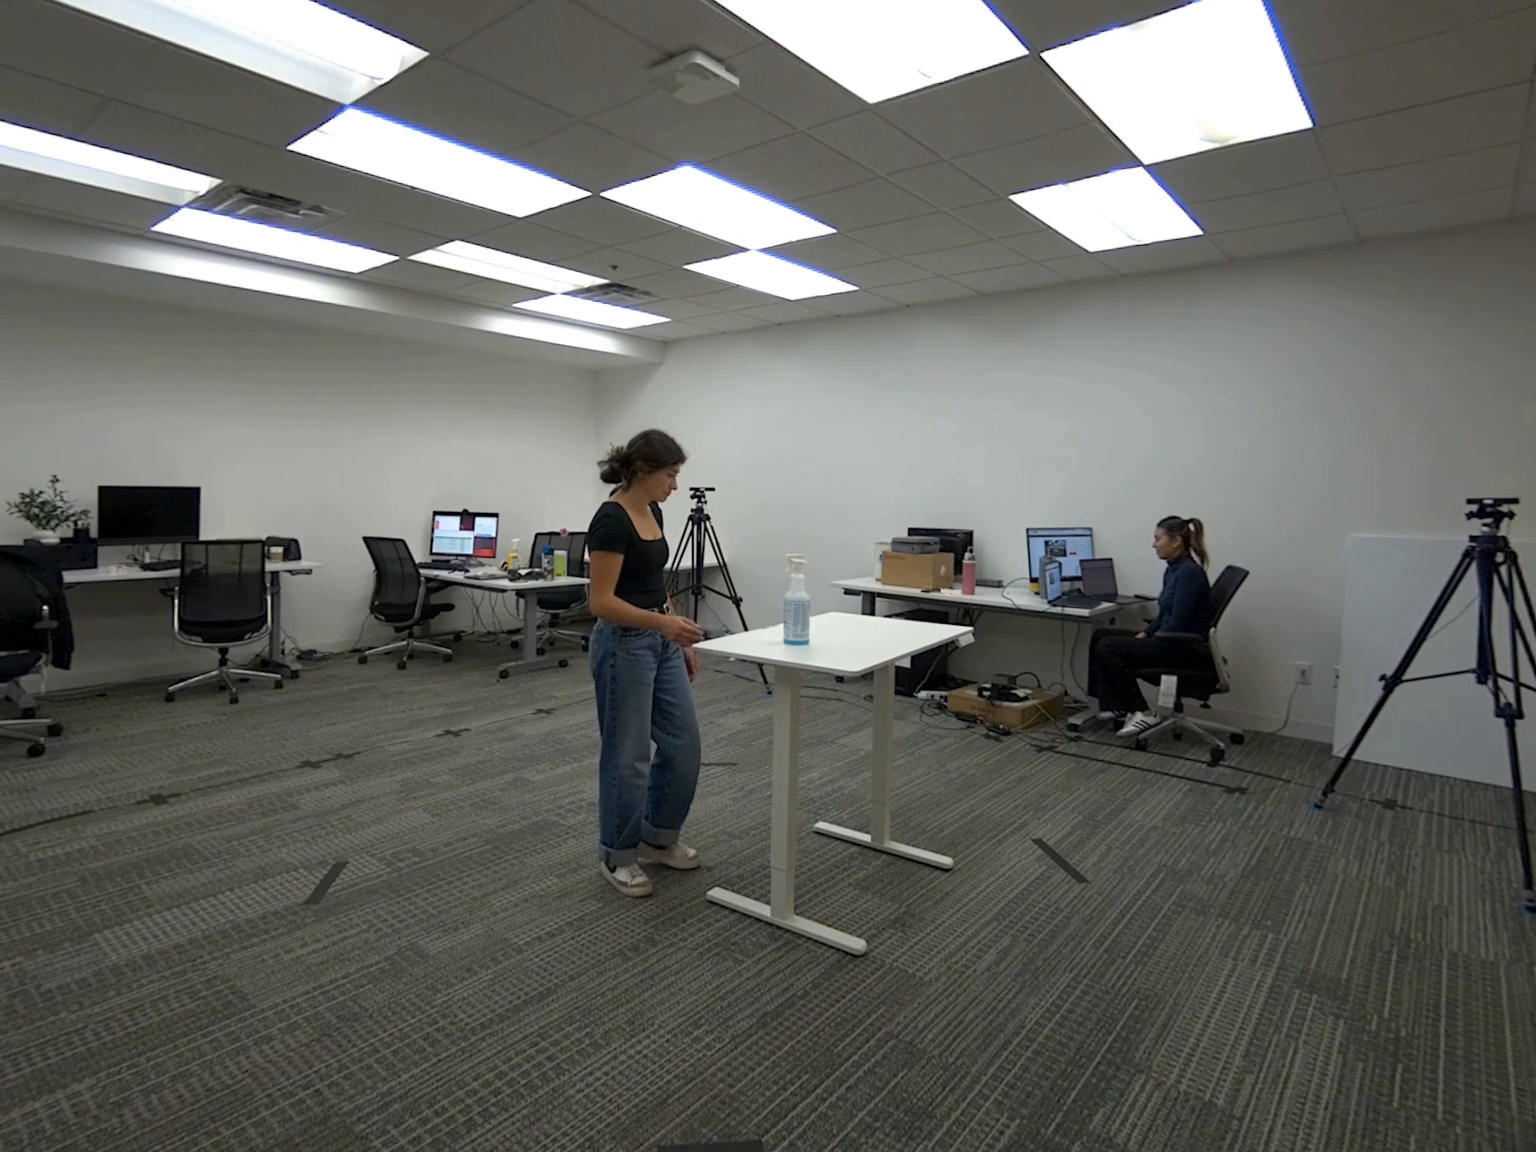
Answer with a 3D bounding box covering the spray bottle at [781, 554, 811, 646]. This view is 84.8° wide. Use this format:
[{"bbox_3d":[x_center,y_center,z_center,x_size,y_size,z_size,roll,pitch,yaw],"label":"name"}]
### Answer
[{"bbox_3d":[0.087,0.079,2.807,0.089,0.296,0.088,-2,3,-14],"label":"spray bottle"}]
